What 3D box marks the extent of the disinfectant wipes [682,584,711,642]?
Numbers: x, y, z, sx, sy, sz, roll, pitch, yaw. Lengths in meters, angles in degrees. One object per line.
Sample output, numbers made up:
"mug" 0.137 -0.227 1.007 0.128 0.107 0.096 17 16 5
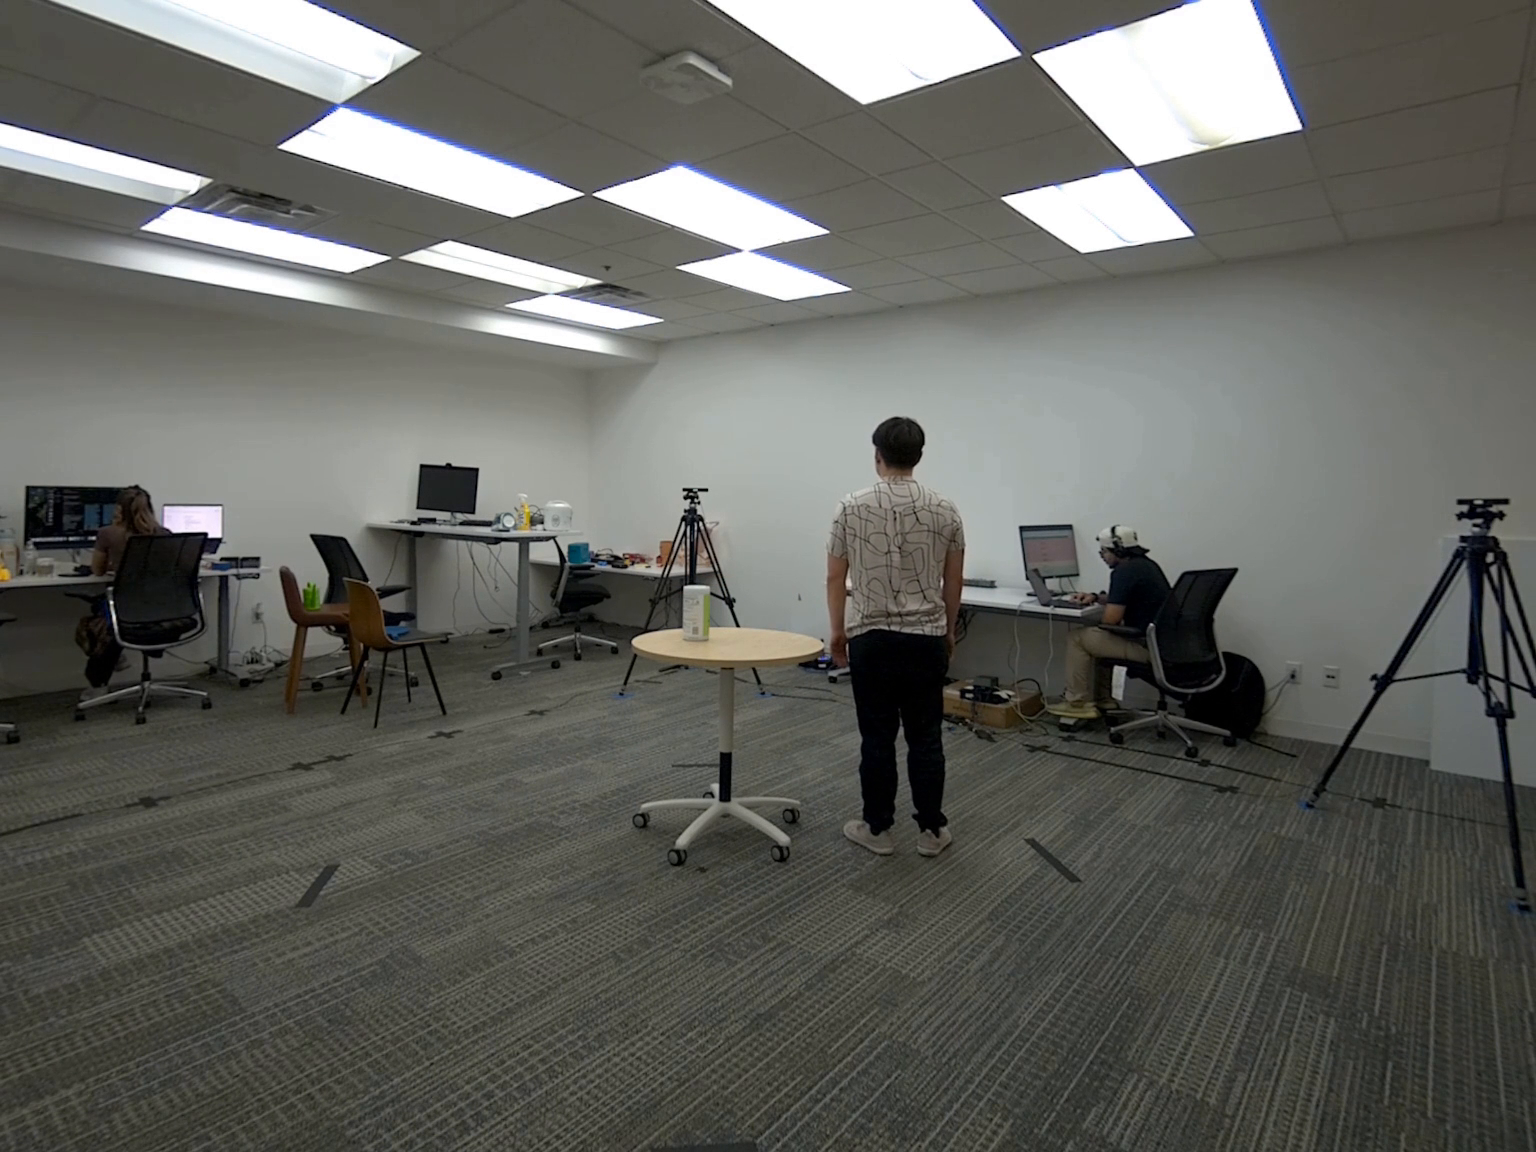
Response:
"disinfectant wipes" -0.301 0.147 3.457 0.118 0.217 0.118 0 3 -2
